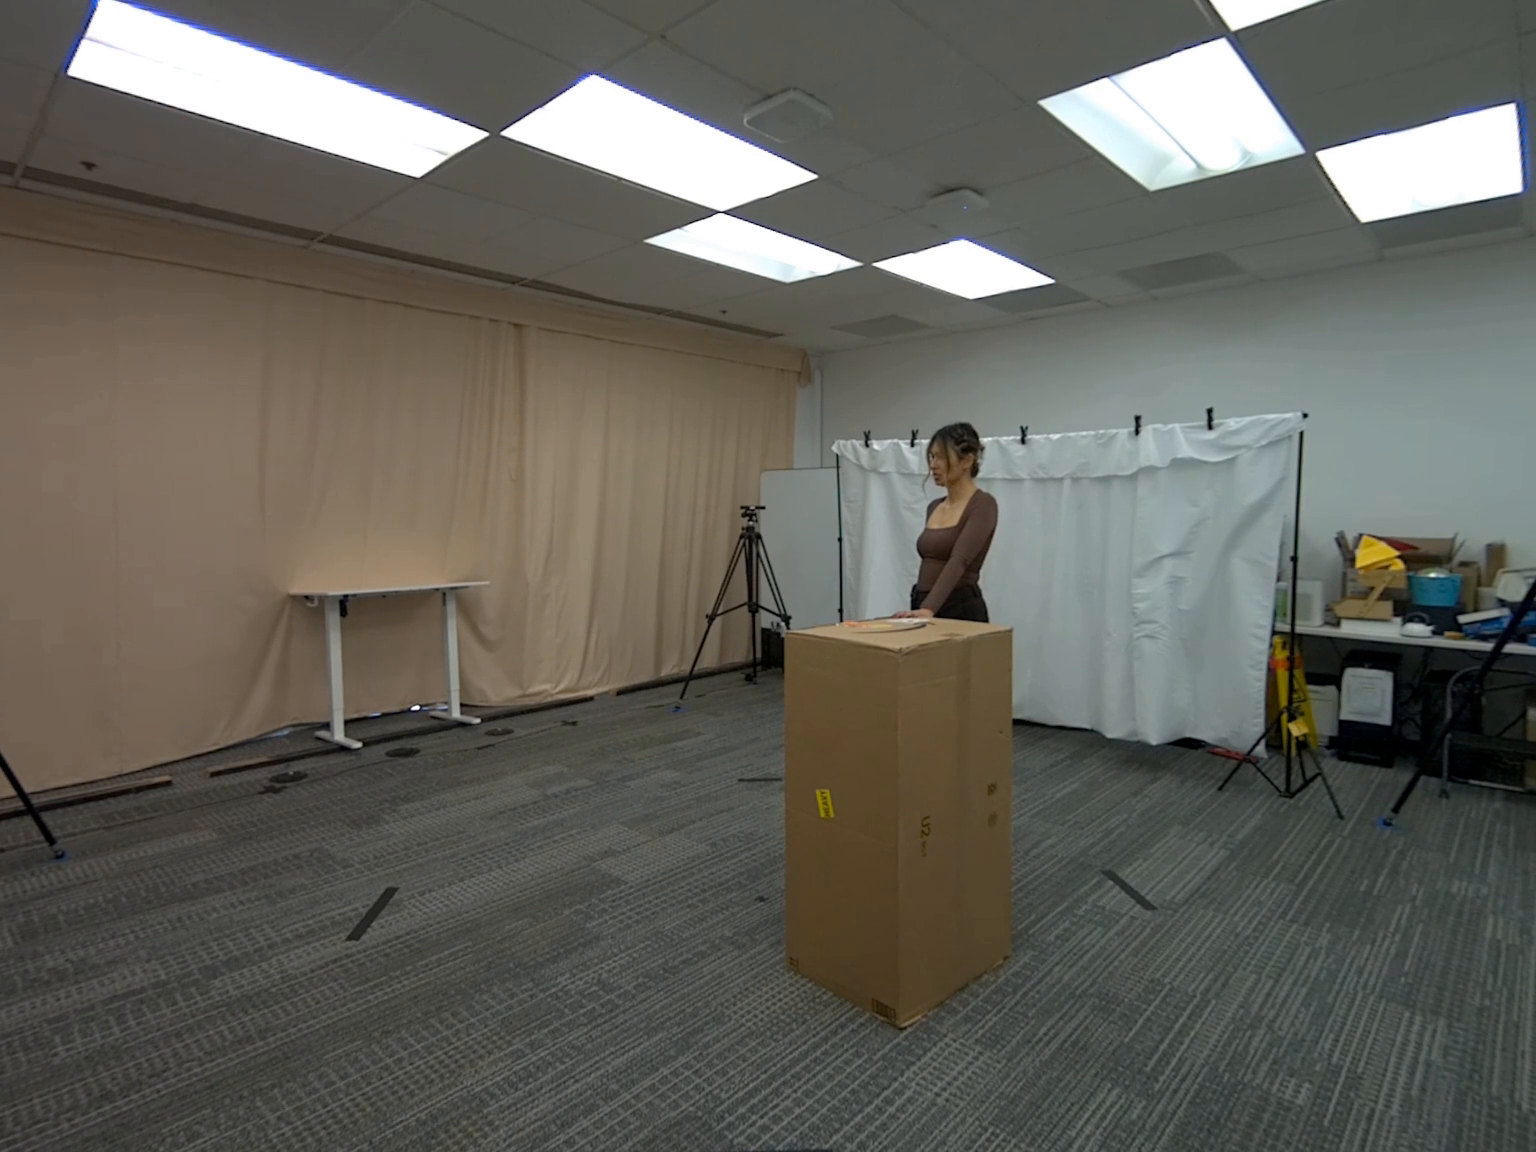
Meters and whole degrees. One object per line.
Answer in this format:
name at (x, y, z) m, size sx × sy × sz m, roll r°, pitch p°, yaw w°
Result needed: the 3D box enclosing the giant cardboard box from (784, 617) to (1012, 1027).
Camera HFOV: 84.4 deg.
giant cardboard box at (0.404, 0.671, 2.553) m, size 0.566 × 1.025 × 0.461 m, roll -3°, pitch 3°, yaw -41°
